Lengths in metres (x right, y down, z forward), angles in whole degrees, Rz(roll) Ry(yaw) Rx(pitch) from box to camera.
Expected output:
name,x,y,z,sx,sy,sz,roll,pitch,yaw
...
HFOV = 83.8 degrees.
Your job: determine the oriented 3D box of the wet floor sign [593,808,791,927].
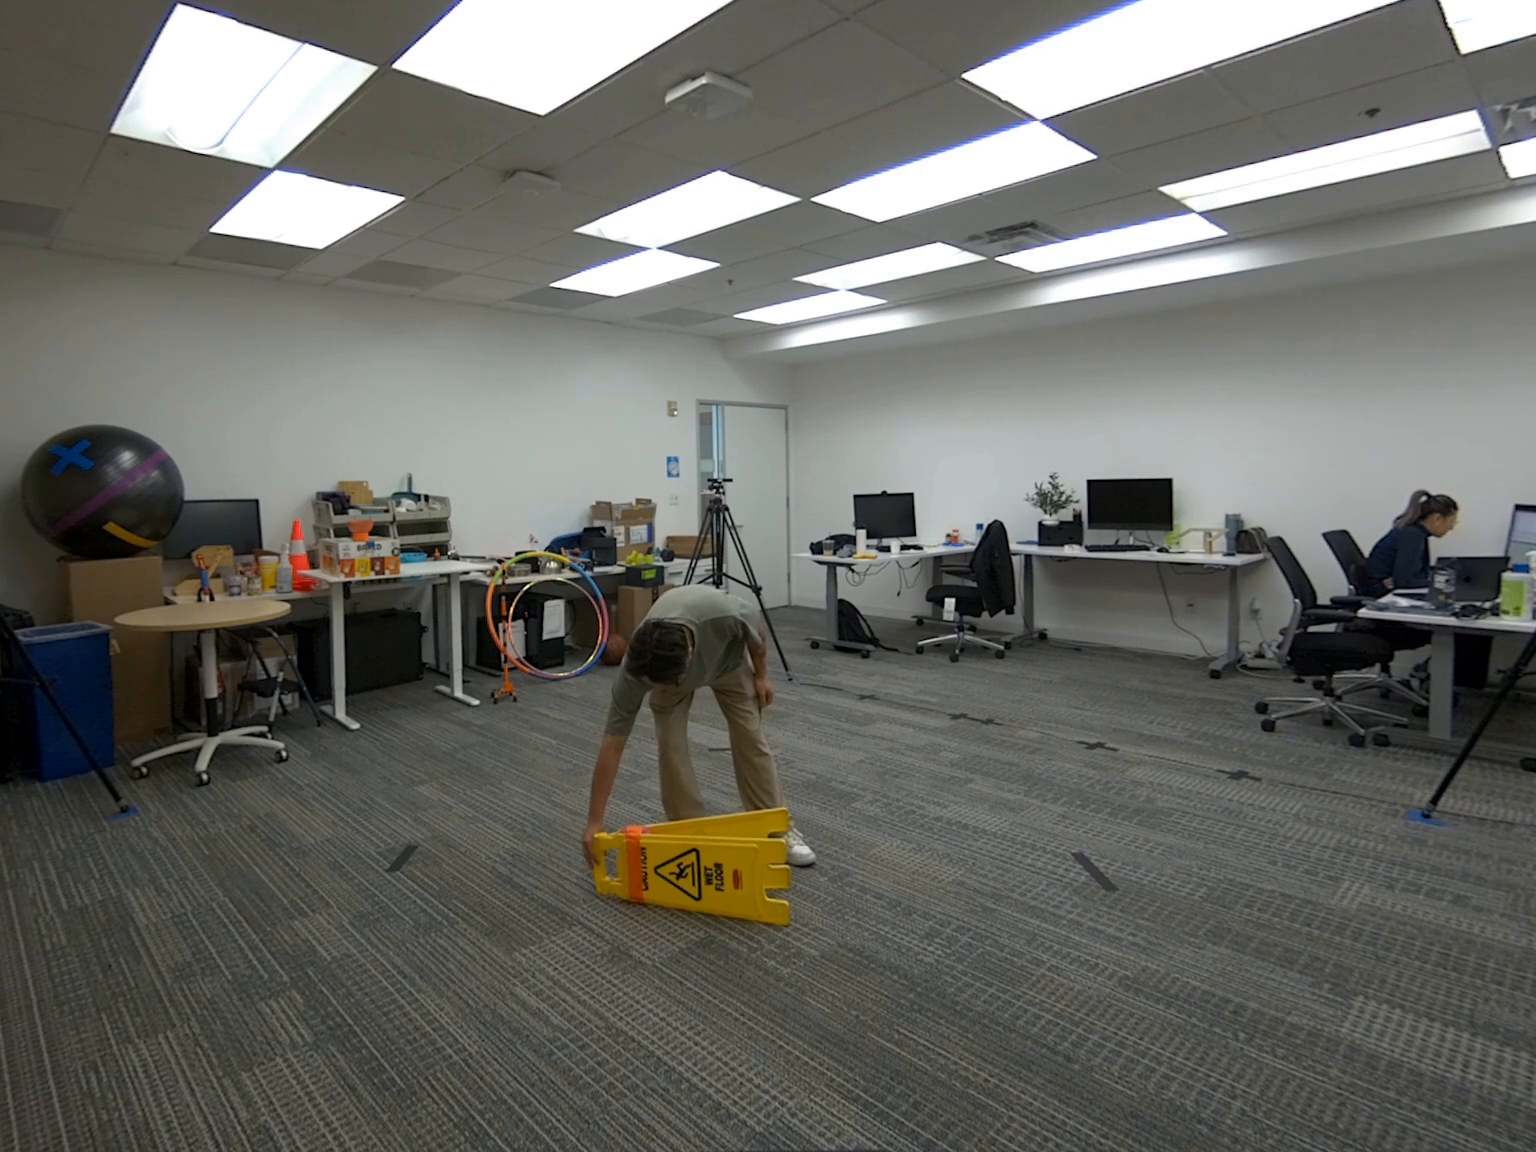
name,x,y,z,sx,sy,sz,roll,pitch,yaw
wet floor sign,-0.255,0.949,2.820,0.650,0.281,0.289,-2,5,6
